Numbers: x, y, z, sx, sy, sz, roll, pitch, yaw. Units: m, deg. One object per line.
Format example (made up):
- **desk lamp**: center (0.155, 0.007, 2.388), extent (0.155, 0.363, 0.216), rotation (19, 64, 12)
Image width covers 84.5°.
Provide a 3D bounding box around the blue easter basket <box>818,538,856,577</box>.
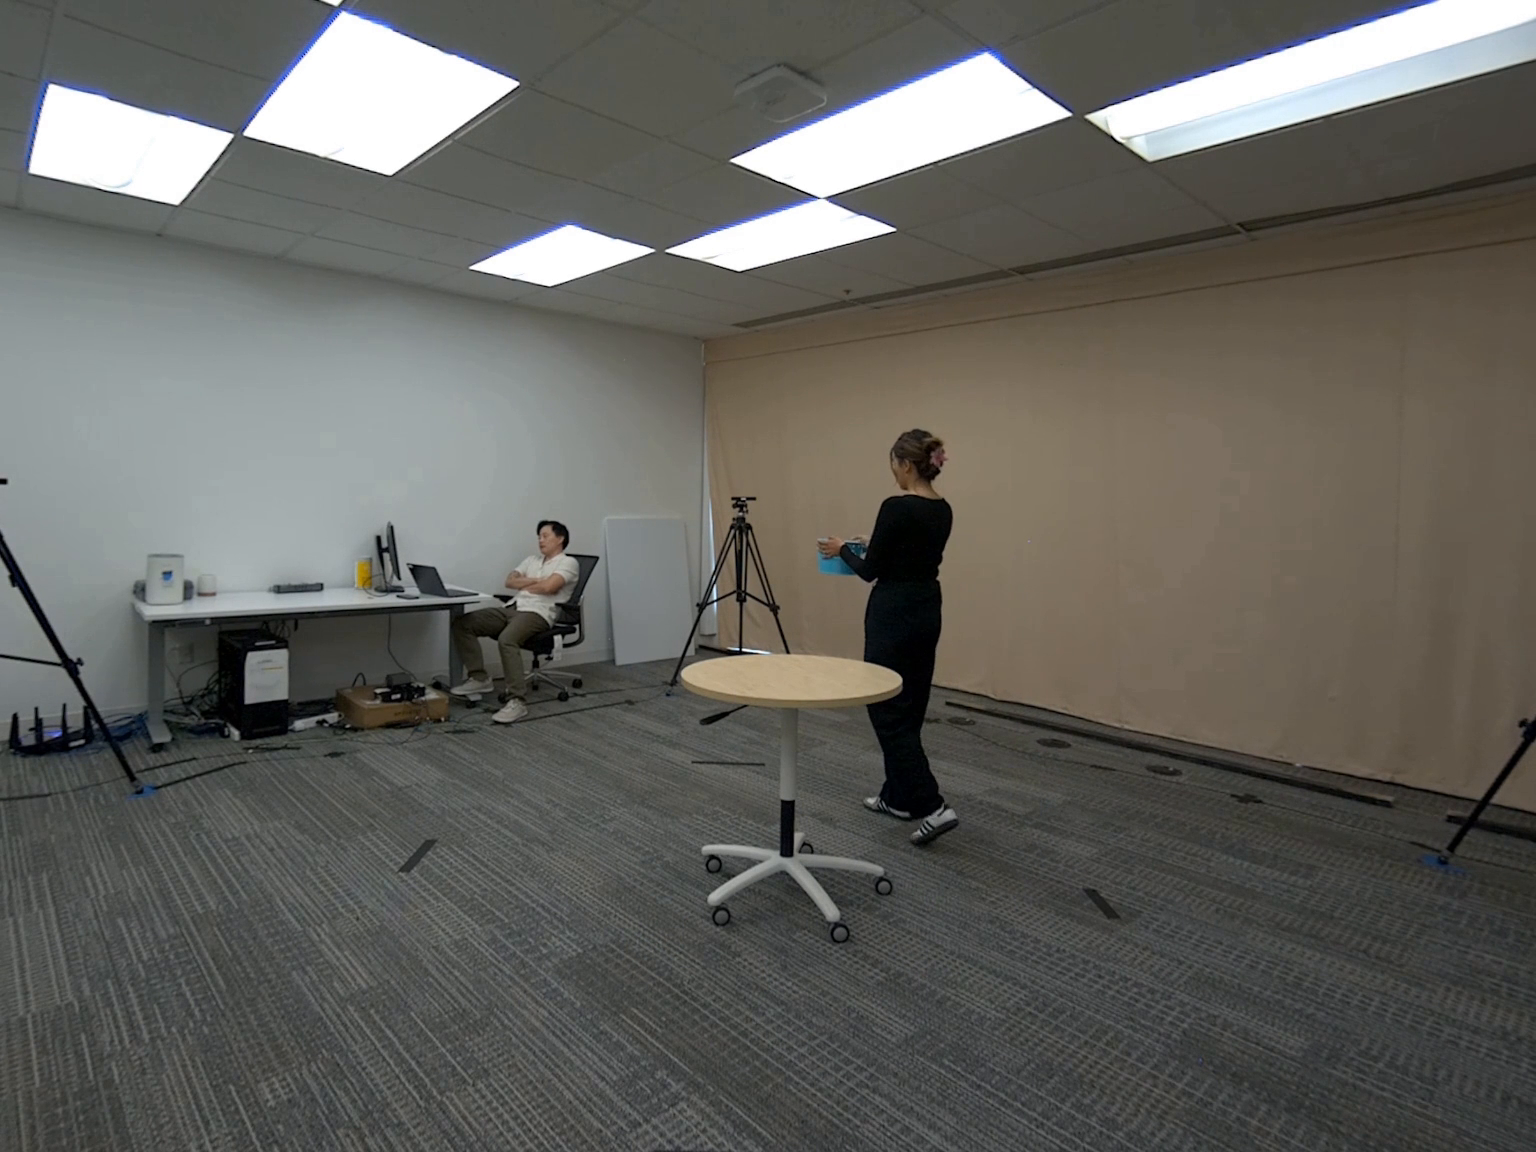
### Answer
- **blue easter basket**: center (0.348, -0.081, 3.908), extent (0.243, 0.155, 0.244), rotation (5, 4, -2)
